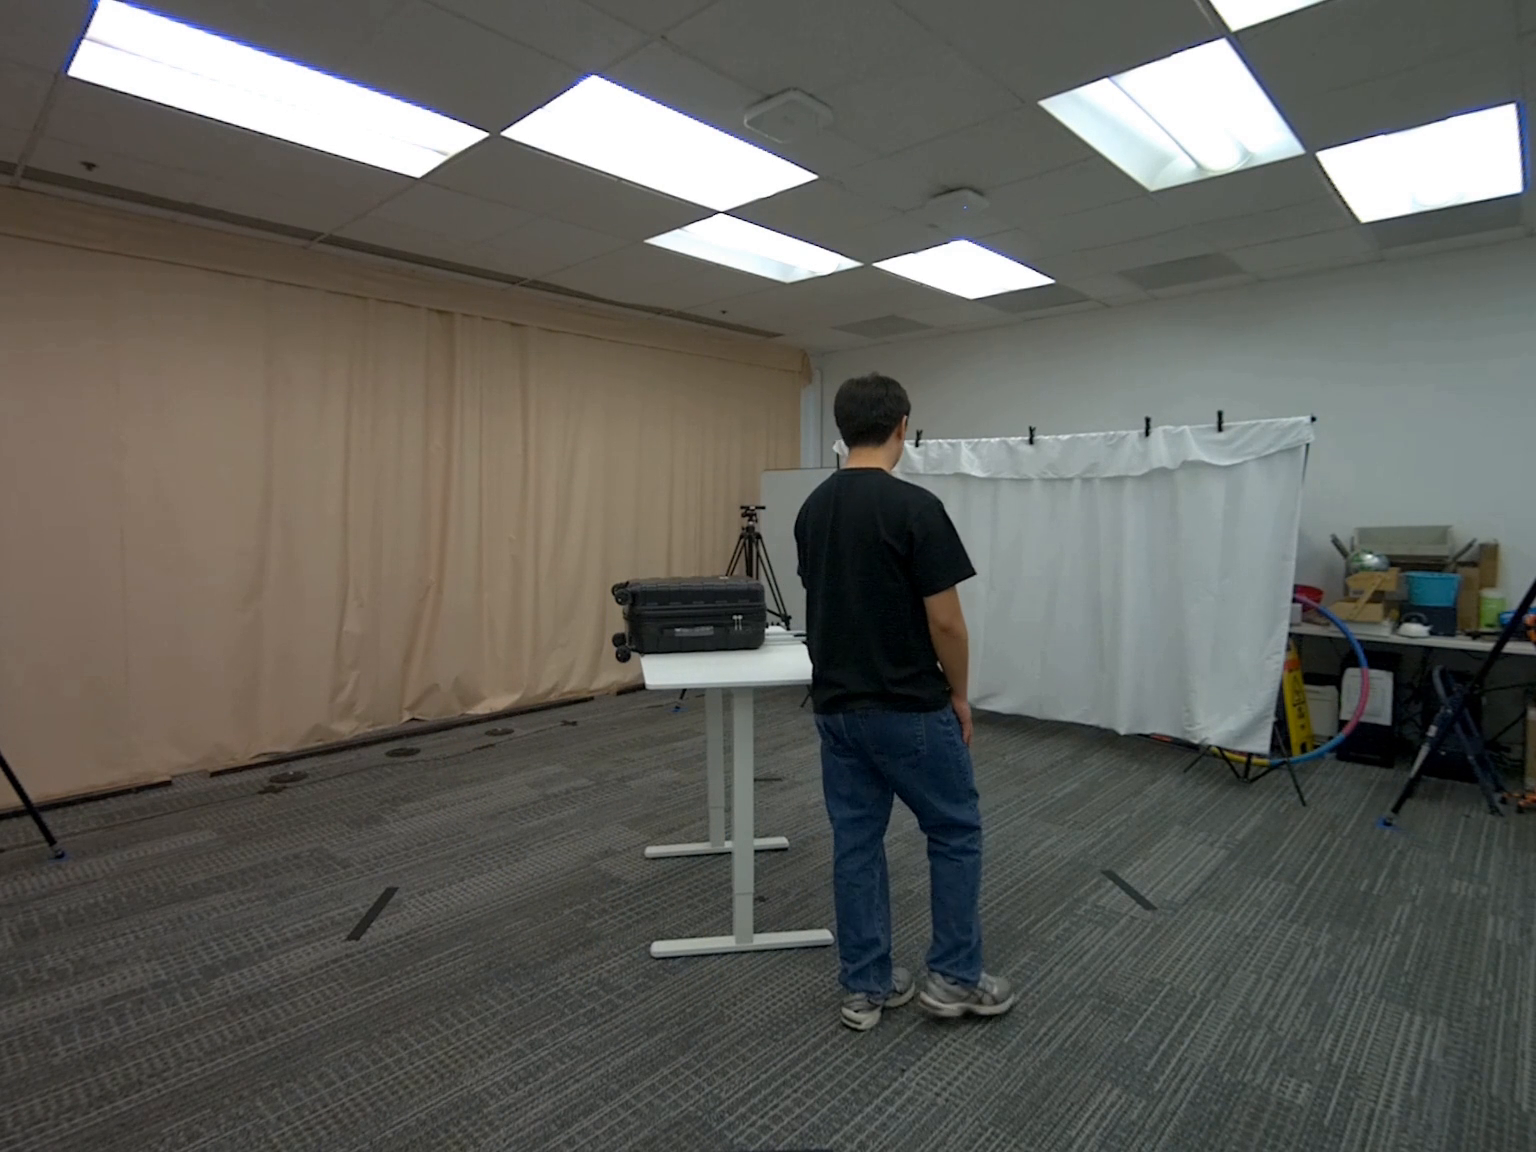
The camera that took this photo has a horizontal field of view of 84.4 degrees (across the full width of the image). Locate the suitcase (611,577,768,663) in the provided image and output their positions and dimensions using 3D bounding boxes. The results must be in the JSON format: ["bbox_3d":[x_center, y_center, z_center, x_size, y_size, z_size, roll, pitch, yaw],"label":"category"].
[{"bbox_3d":[-0.087,0.126,3.111,0.968,0.256,0.389,-4,4,-10],"label":"suitcase"}]
